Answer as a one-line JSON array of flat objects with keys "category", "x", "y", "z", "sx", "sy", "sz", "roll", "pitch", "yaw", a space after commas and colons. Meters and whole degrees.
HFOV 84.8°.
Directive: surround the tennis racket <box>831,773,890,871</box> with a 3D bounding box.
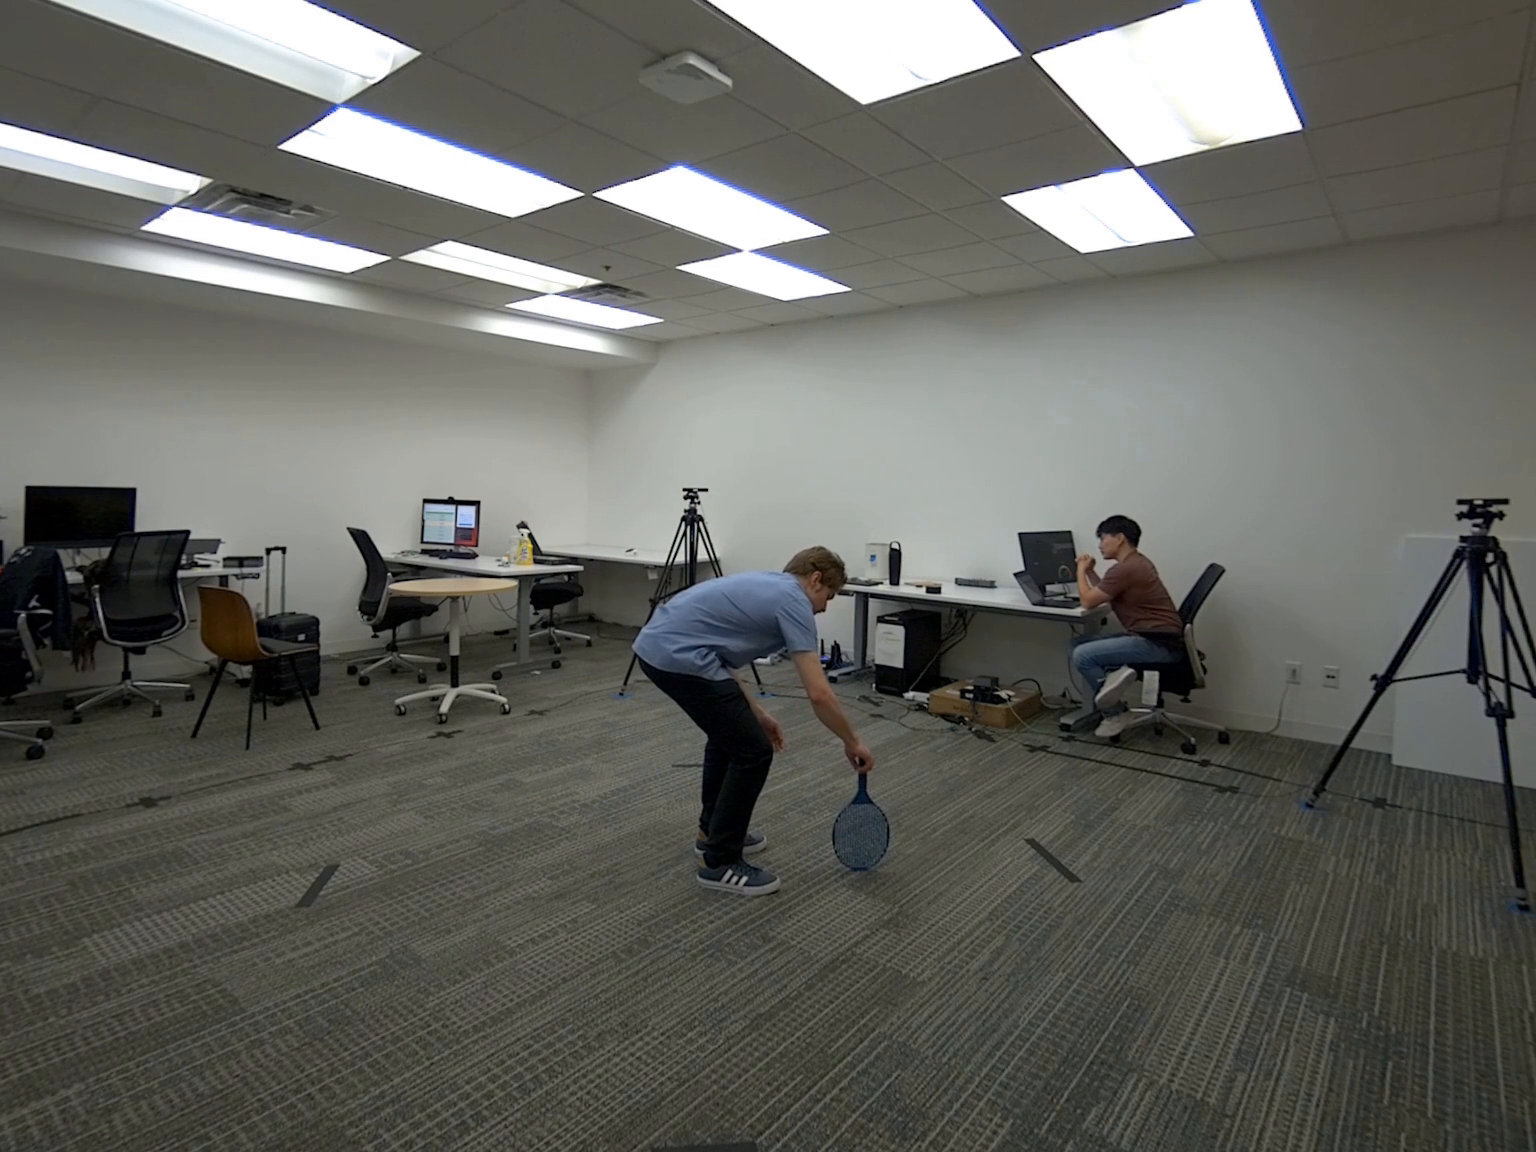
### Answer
[{"category": "tennis racket", "x": 0.313, "y": 0.869, "z": 3.104, "sx": 0.212, "sy": 0.430, "sz": 0.032, "roll": -2, "pitch": 7, "yaw": -5}]
